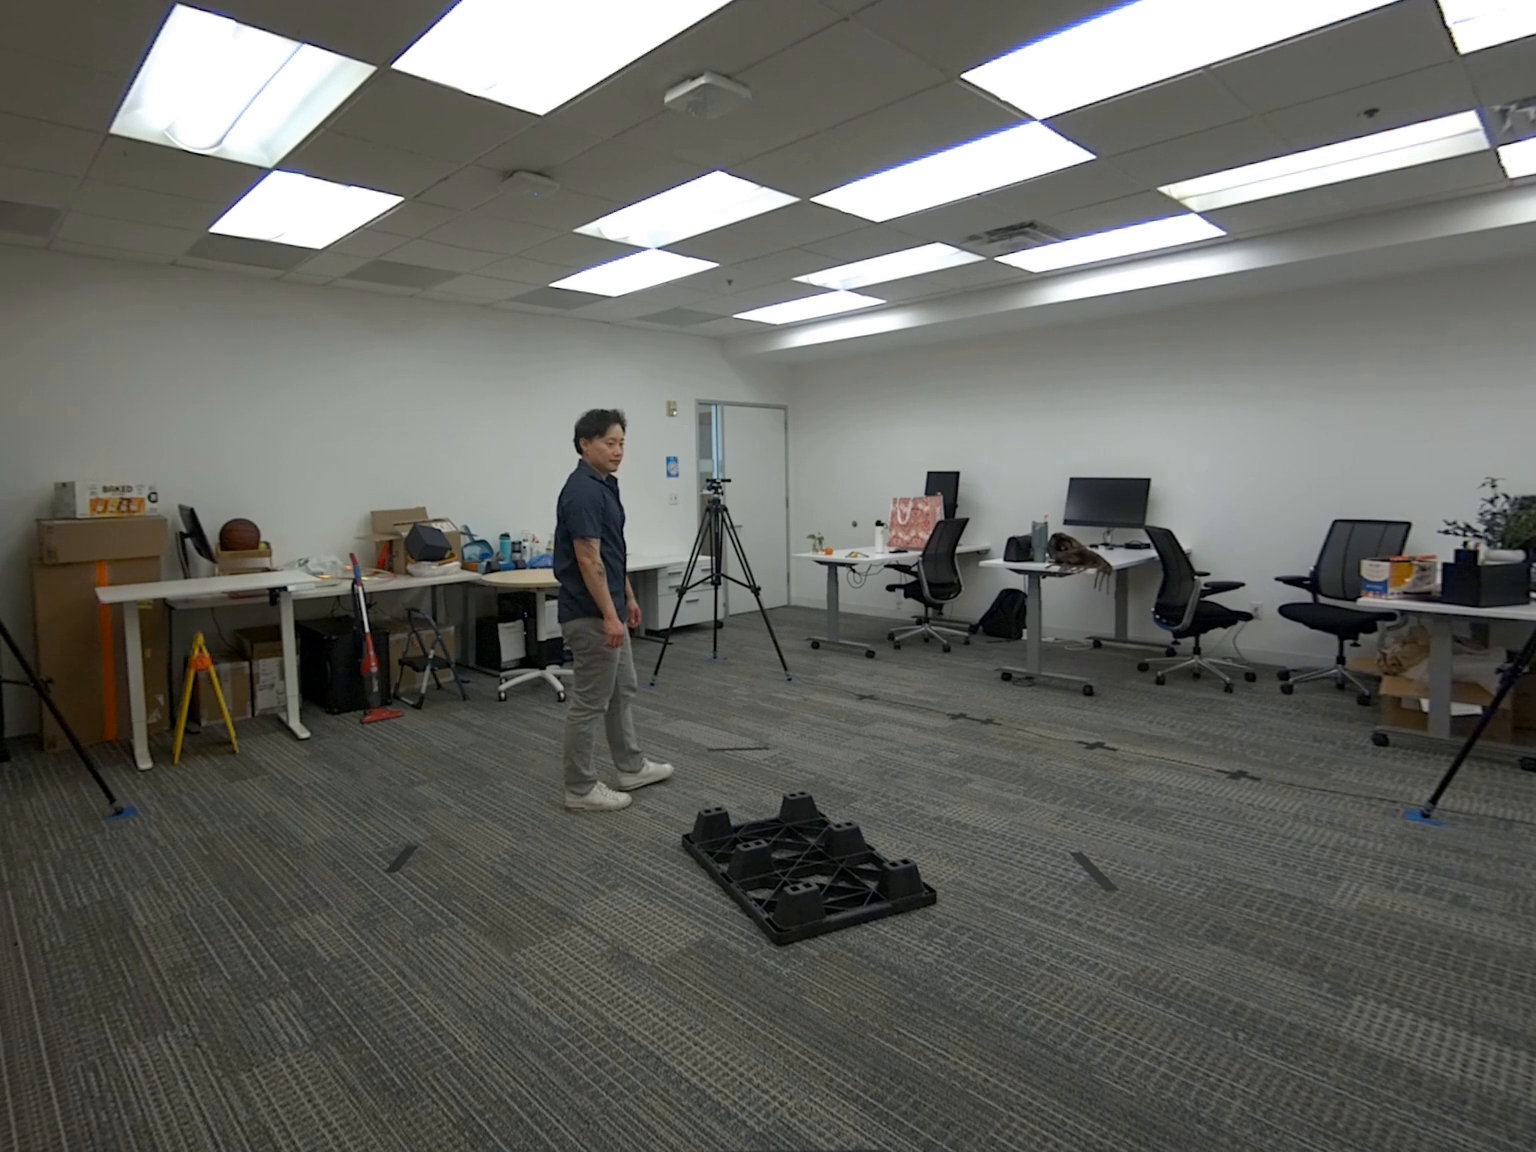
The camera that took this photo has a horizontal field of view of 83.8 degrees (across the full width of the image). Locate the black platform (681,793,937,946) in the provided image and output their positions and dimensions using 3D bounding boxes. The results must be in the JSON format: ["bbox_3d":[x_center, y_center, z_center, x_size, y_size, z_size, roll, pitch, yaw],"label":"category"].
[{"bbox_3d":[0.106,0.982,3.029,0.592,0.143,0.826,-4,7,-26],"label":"black platform"}]
